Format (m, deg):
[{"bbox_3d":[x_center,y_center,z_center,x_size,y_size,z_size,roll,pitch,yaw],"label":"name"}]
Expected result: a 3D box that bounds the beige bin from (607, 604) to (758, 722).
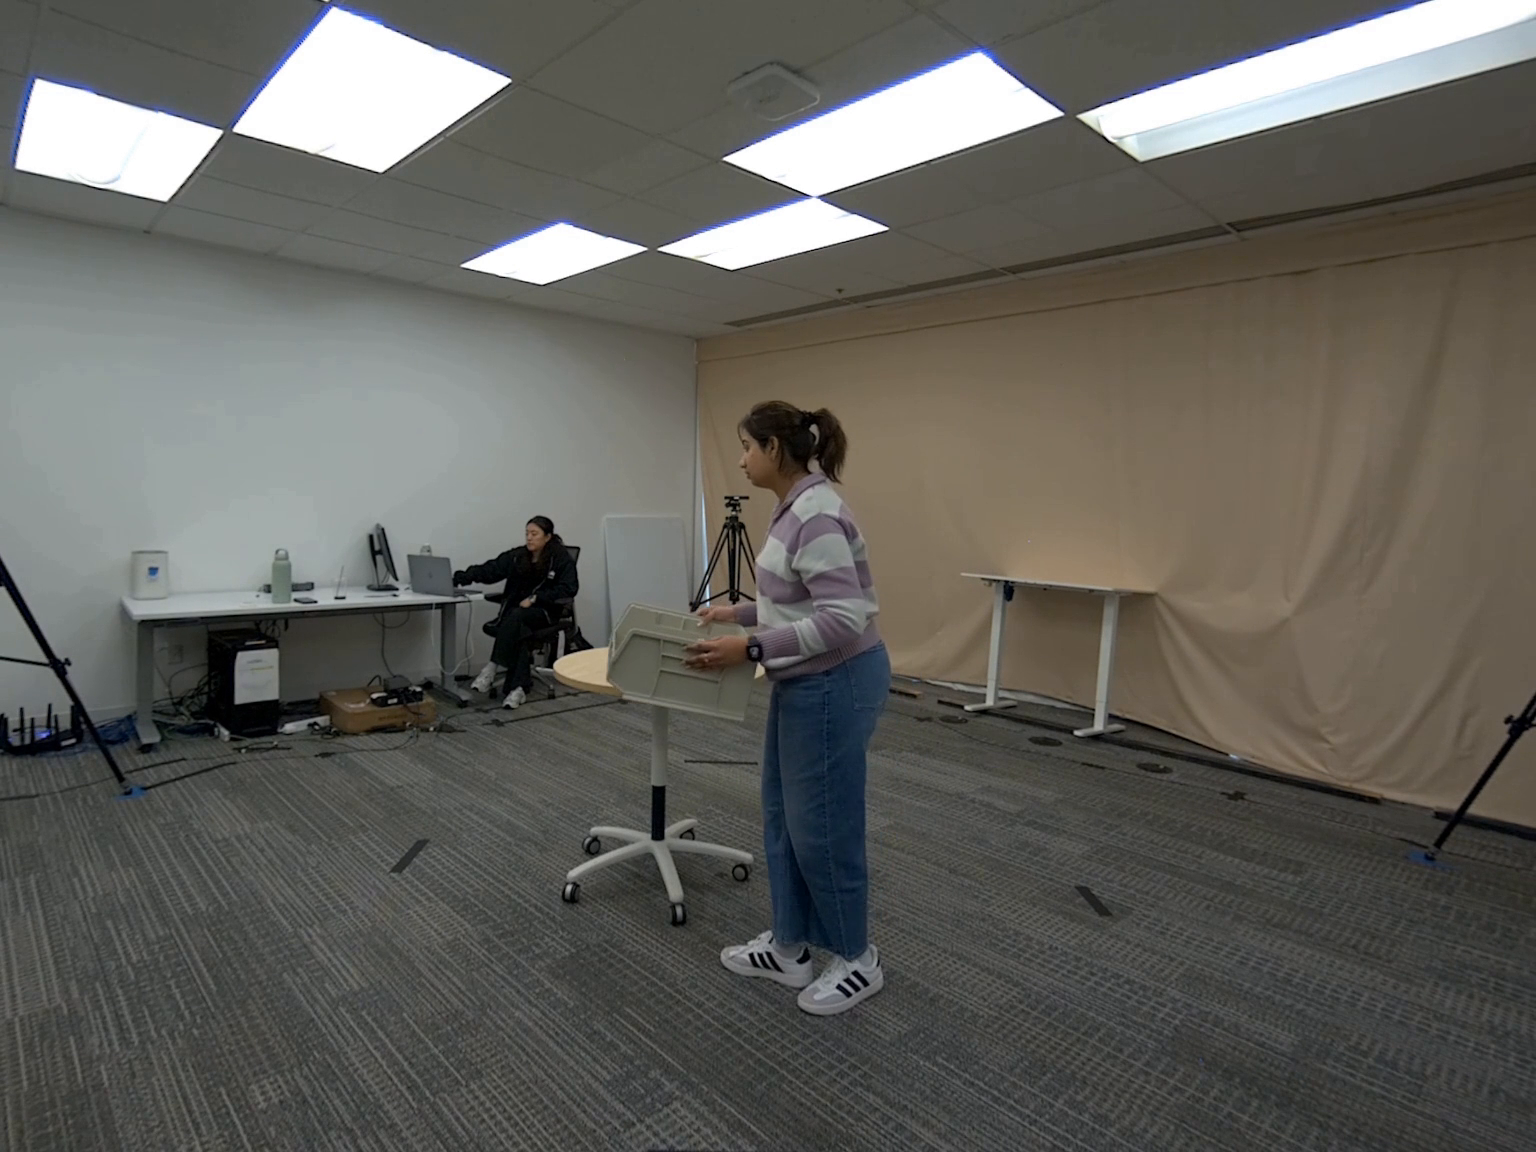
[{"bbox_3d":[-0.251,0.229,2.303,0.374,0.188,0.427,13,4,-10],"label":"beige bin"}]
